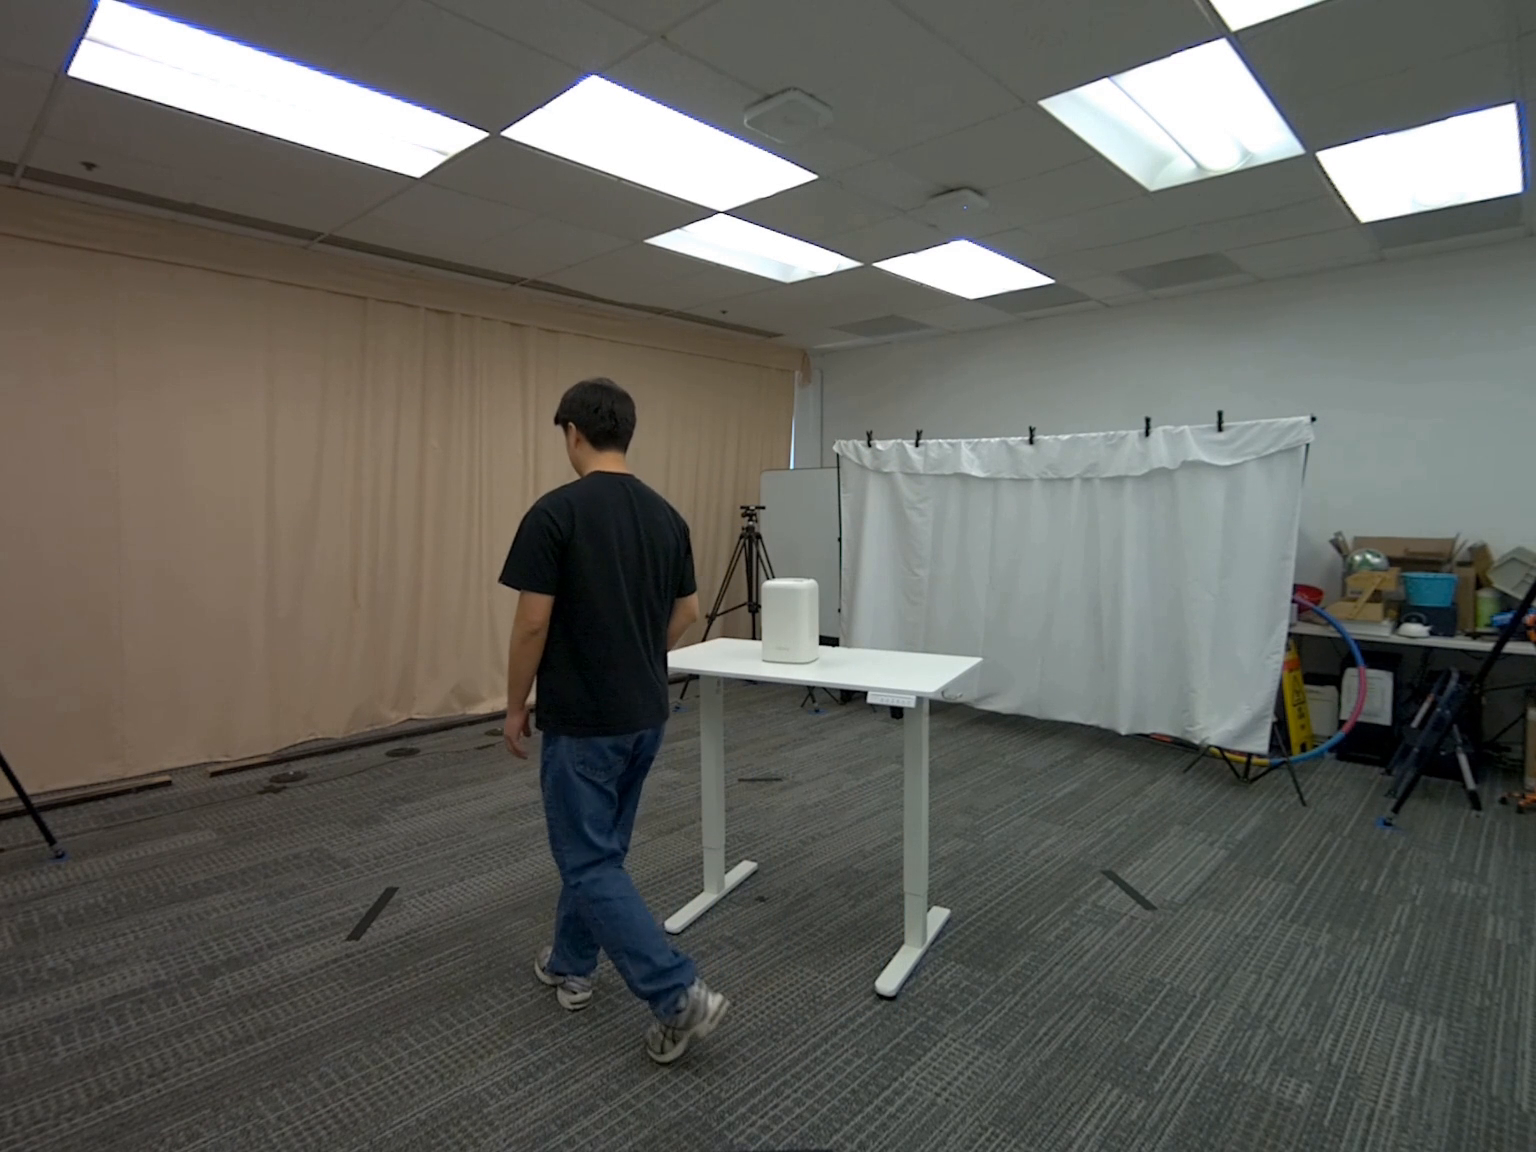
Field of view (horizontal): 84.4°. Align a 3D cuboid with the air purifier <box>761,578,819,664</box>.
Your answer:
[{"bbox_3d":[0.076,0.147,2.783,0.175,0.265,0.168,1,2,23],"label":"air purifier"}]
